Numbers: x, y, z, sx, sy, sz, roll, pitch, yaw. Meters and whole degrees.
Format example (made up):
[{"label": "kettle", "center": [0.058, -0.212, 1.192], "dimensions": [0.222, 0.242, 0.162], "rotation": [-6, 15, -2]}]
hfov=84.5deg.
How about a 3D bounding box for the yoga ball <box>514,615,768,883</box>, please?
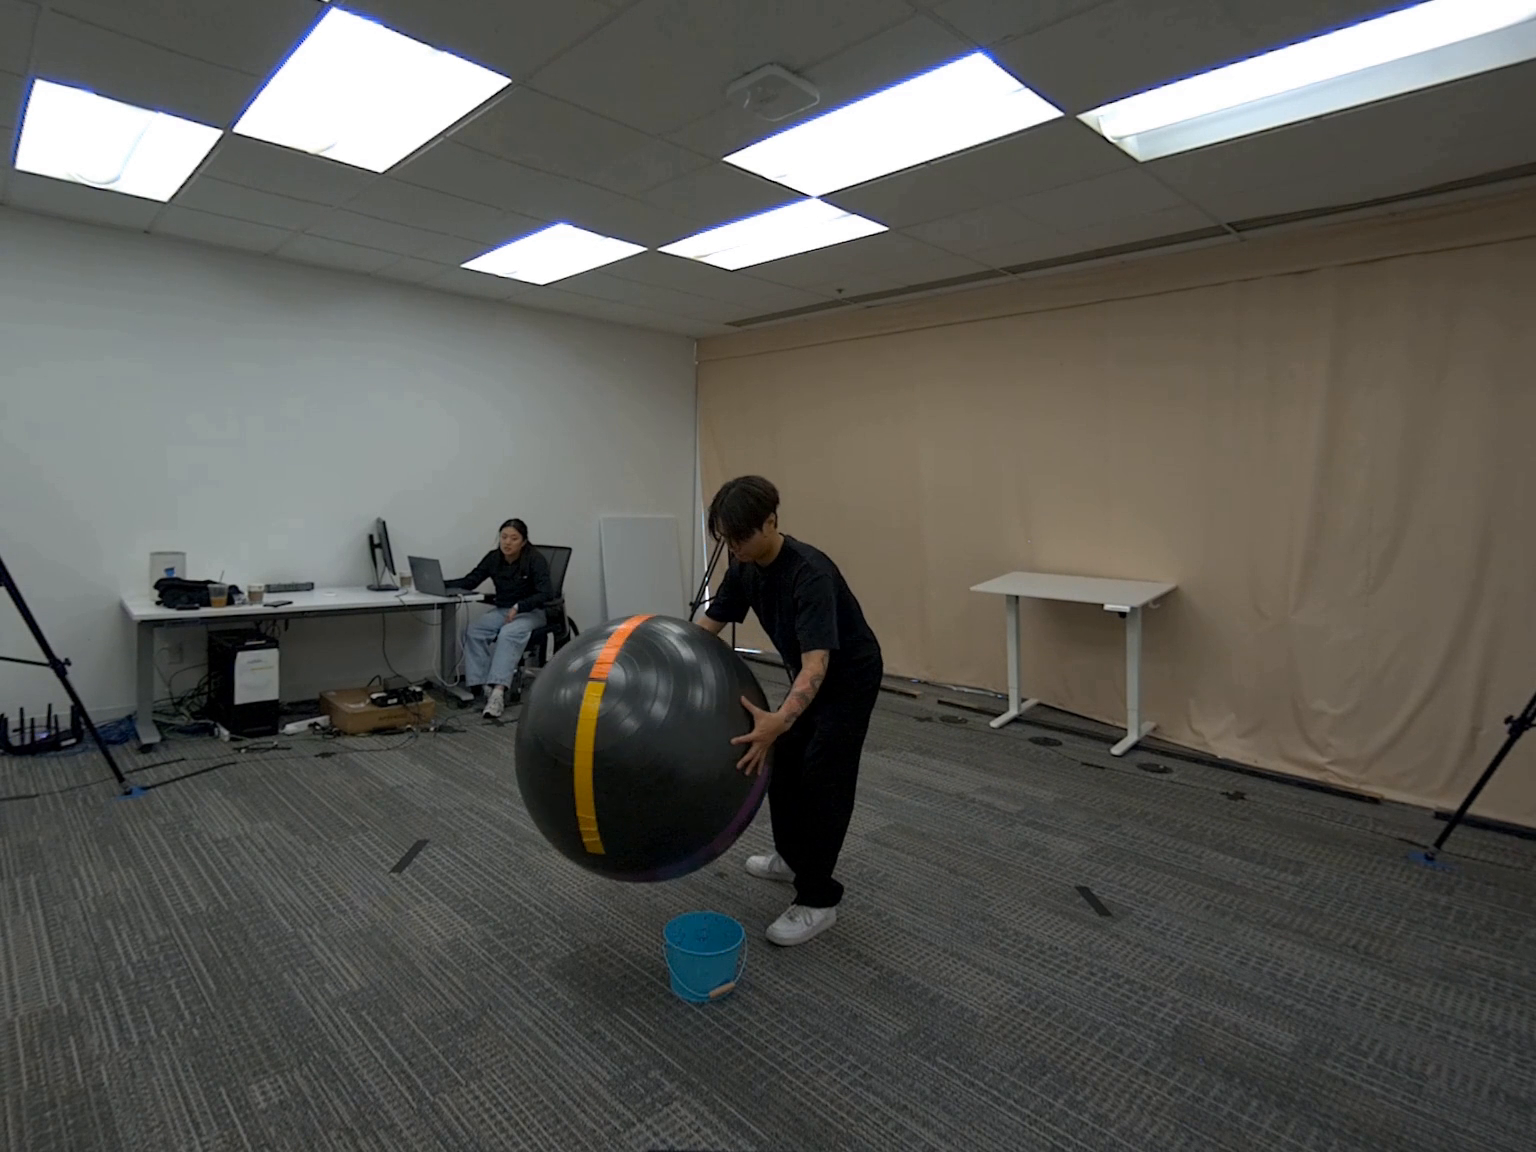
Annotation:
[{"label": "yoga ball", "center": [-0.365, 0.519, 2.485], "dimensions": [0.757, 0.756, 0.761], "rotation": [1, 4, -1]}]
